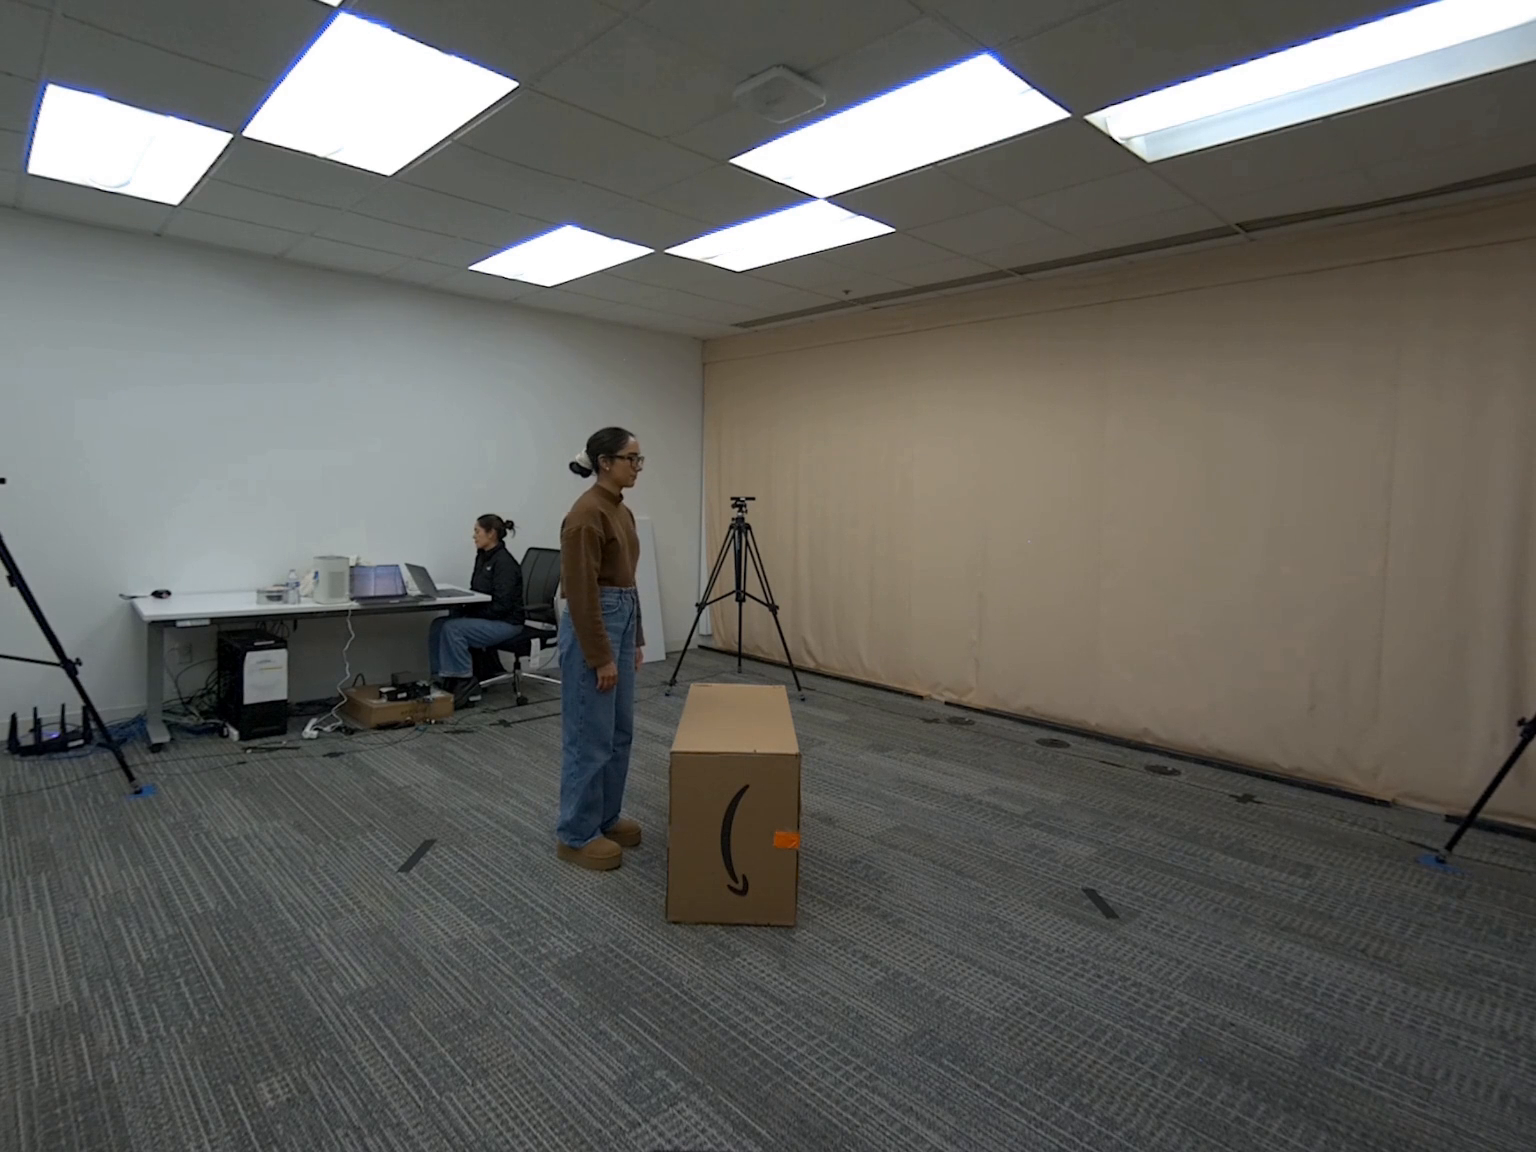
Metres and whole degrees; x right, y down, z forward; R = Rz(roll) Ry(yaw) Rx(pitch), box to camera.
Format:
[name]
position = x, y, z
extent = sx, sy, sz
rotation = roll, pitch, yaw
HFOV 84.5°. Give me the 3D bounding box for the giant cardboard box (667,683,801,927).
[giant cardboard box]
position = -0.127, 0.809, 3.232
extent = 0.426, 0.576, 1.029
rotation = 2, 5, -2
